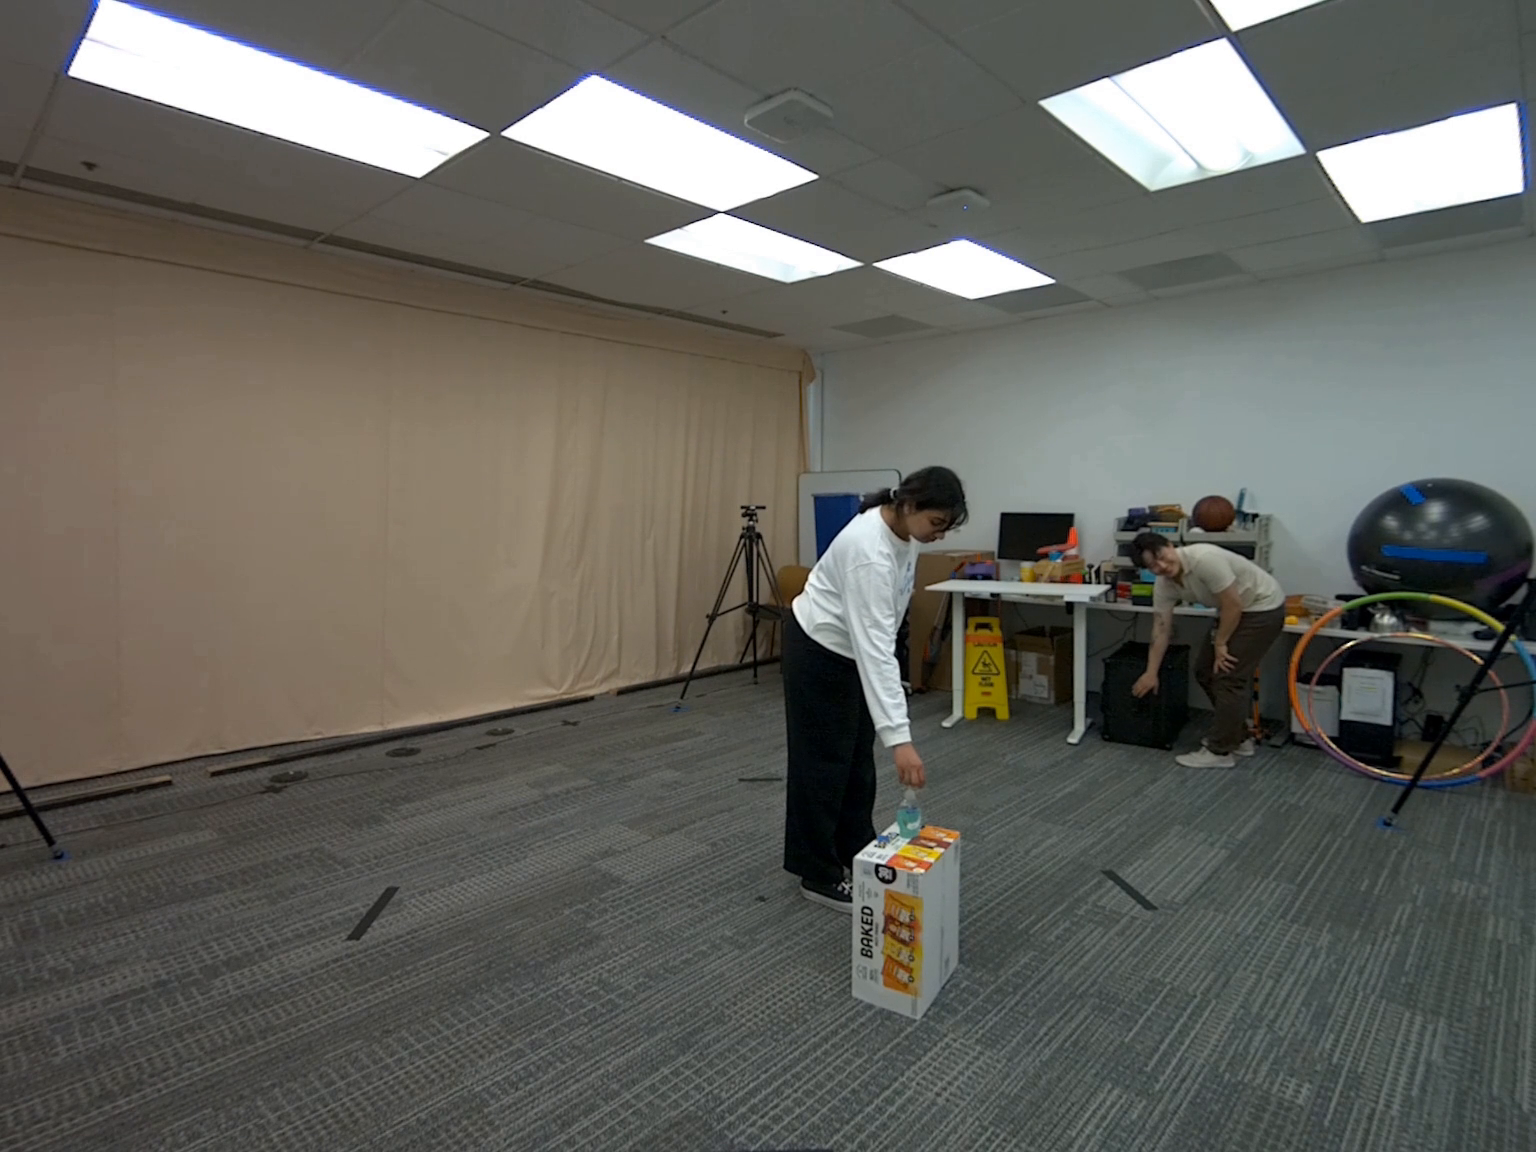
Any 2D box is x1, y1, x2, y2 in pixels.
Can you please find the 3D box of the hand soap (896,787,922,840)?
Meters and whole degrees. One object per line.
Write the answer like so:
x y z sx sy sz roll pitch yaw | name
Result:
0.433 0.691 2.519 0.083 0.168 0.044 -2 -2 -21 | hand soap
